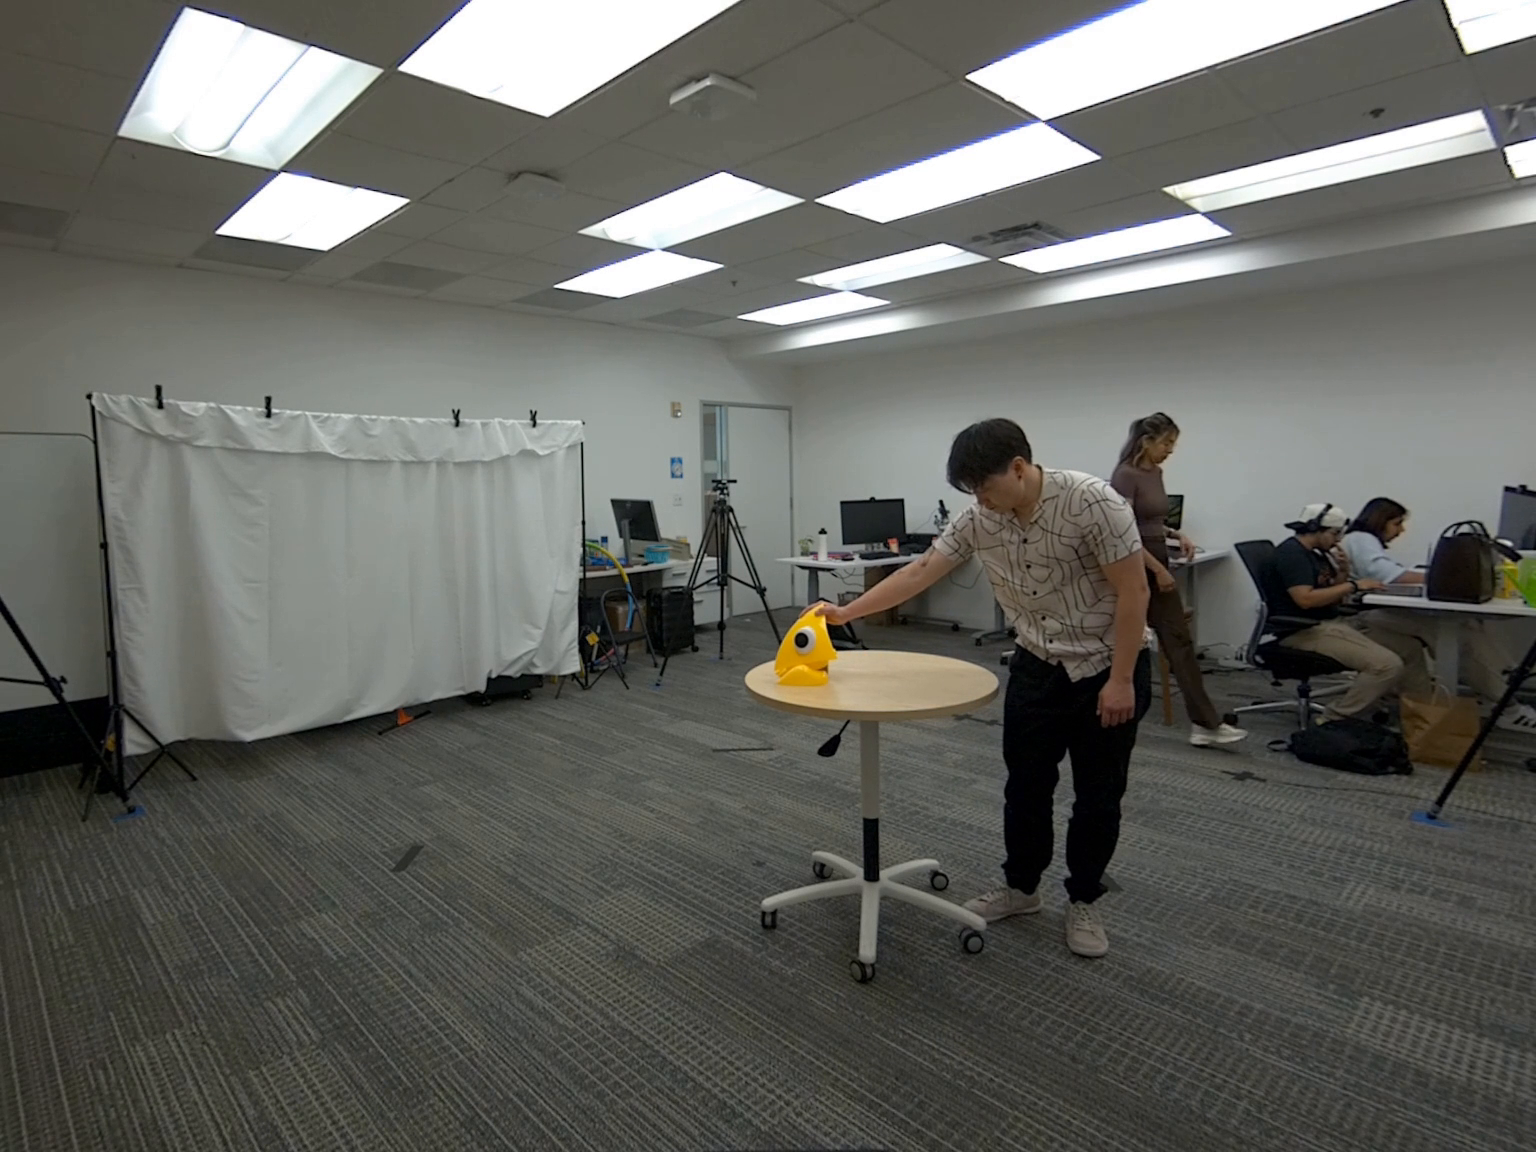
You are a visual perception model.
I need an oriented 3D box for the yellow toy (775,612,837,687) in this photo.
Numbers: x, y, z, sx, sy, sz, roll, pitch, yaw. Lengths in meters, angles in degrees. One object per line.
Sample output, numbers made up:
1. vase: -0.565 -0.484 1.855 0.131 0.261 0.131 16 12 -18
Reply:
1. yellow toy: 0.114 0.205 2.637 0.193 0.229 0.206 -2 6 0
